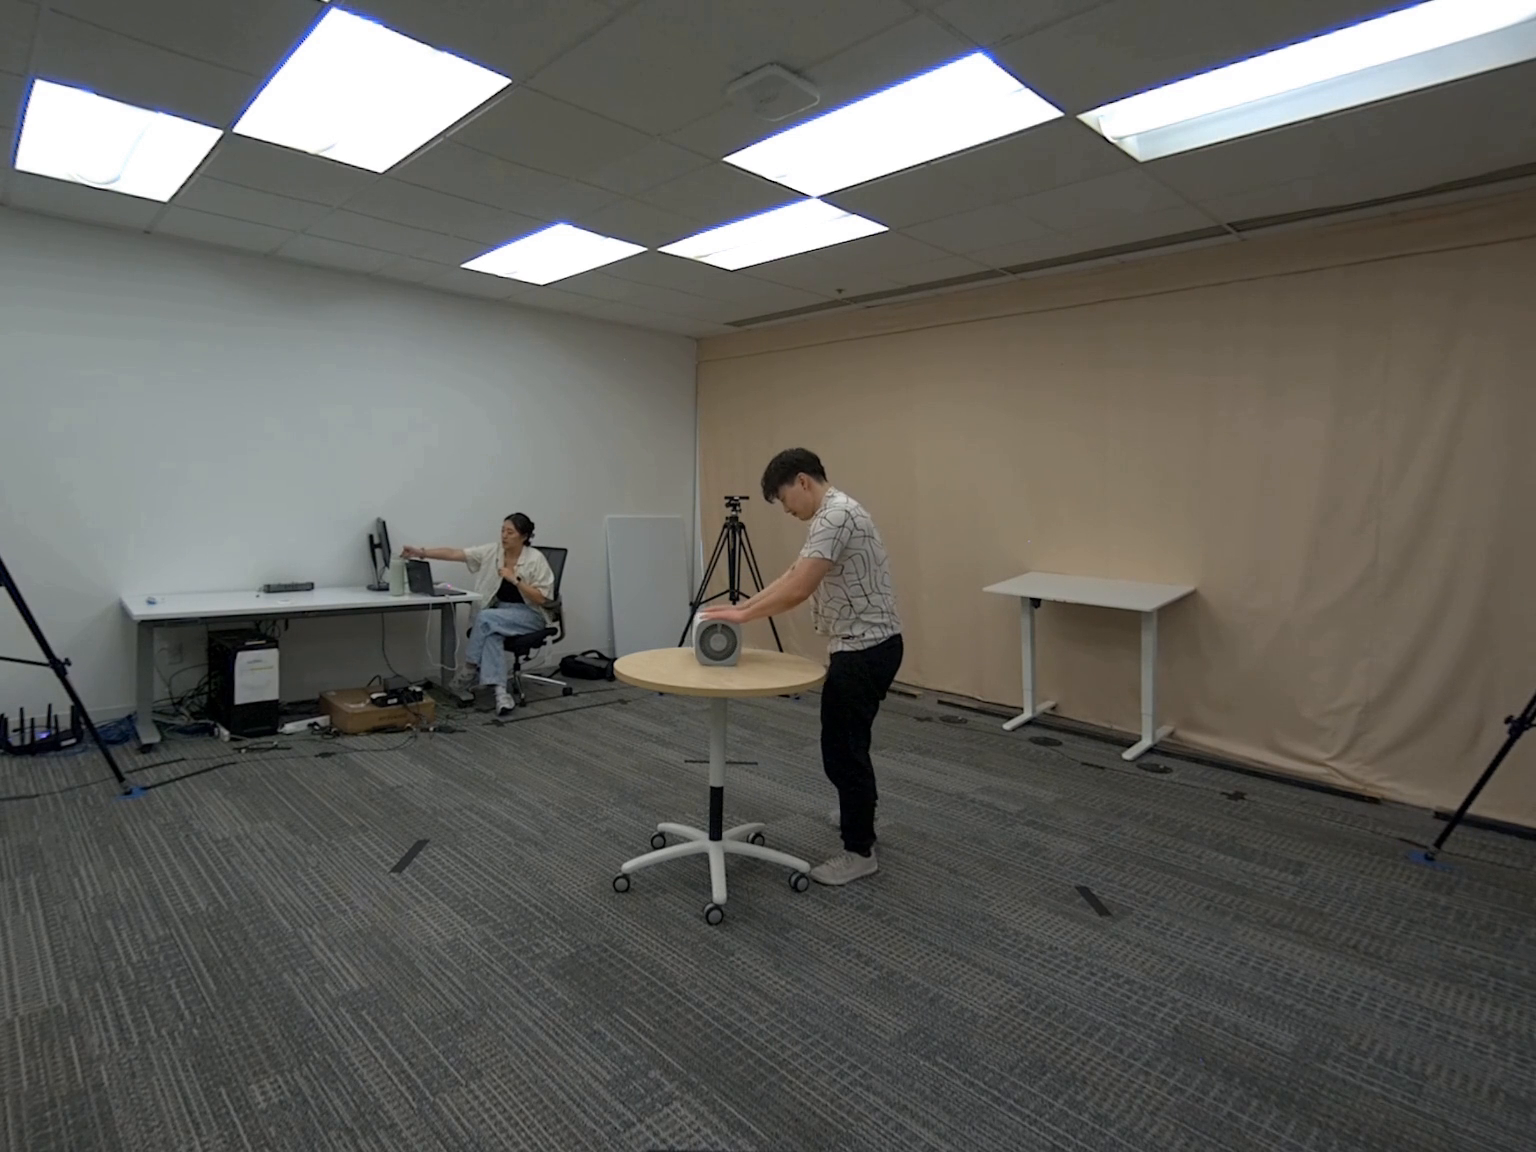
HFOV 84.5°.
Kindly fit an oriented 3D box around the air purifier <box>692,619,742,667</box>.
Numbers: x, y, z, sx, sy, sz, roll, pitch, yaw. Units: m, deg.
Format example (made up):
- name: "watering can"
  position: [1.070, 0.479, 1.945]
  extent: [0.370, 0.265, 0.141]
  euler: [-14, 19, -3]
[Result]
- name: "air purifier"
  position: [-0.192, 0.226, 3.164]
  extent: [0.171, 0.171, 0.266]
  euler: [2, 4, -3]
